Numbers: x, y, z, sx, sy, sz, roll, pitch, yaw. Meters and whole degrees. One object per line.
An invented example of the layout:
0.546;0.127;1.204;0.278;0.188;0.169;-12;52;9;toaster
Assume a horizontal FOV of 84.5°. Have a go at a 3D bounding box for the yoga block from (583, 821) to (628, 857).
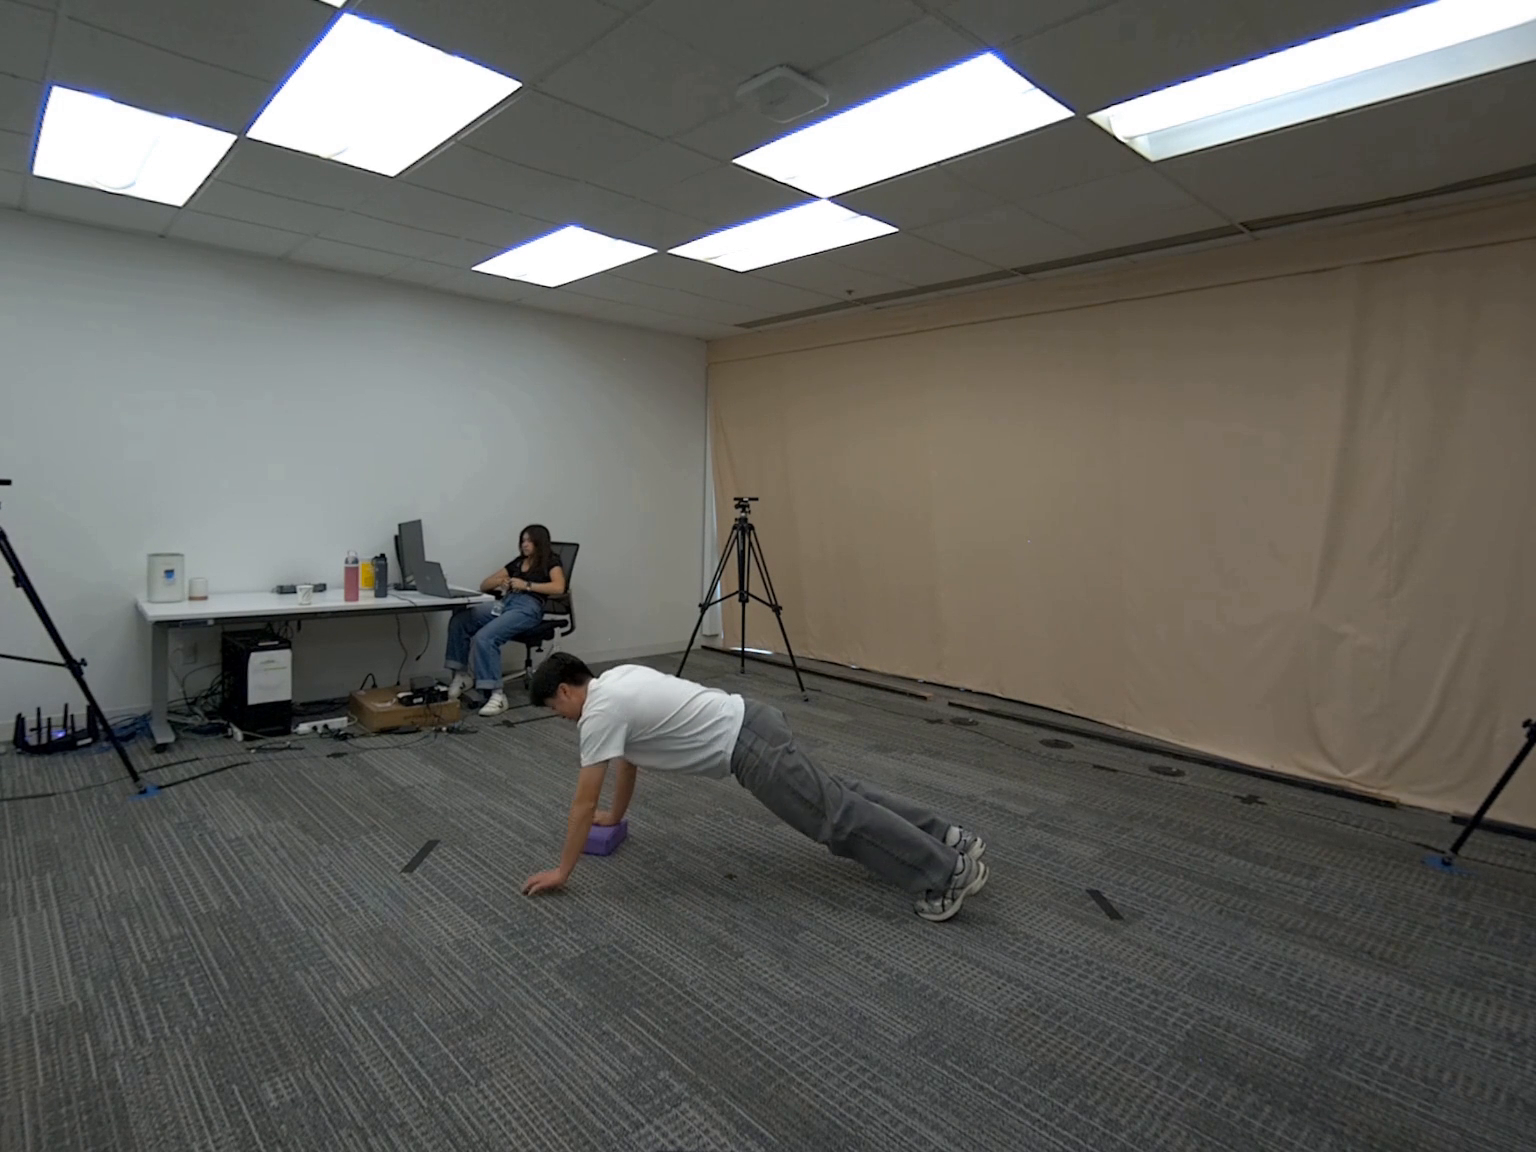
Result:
-0.670;1.034;3.373;0.150;0.076;0.227;3;5;11;yoga block
